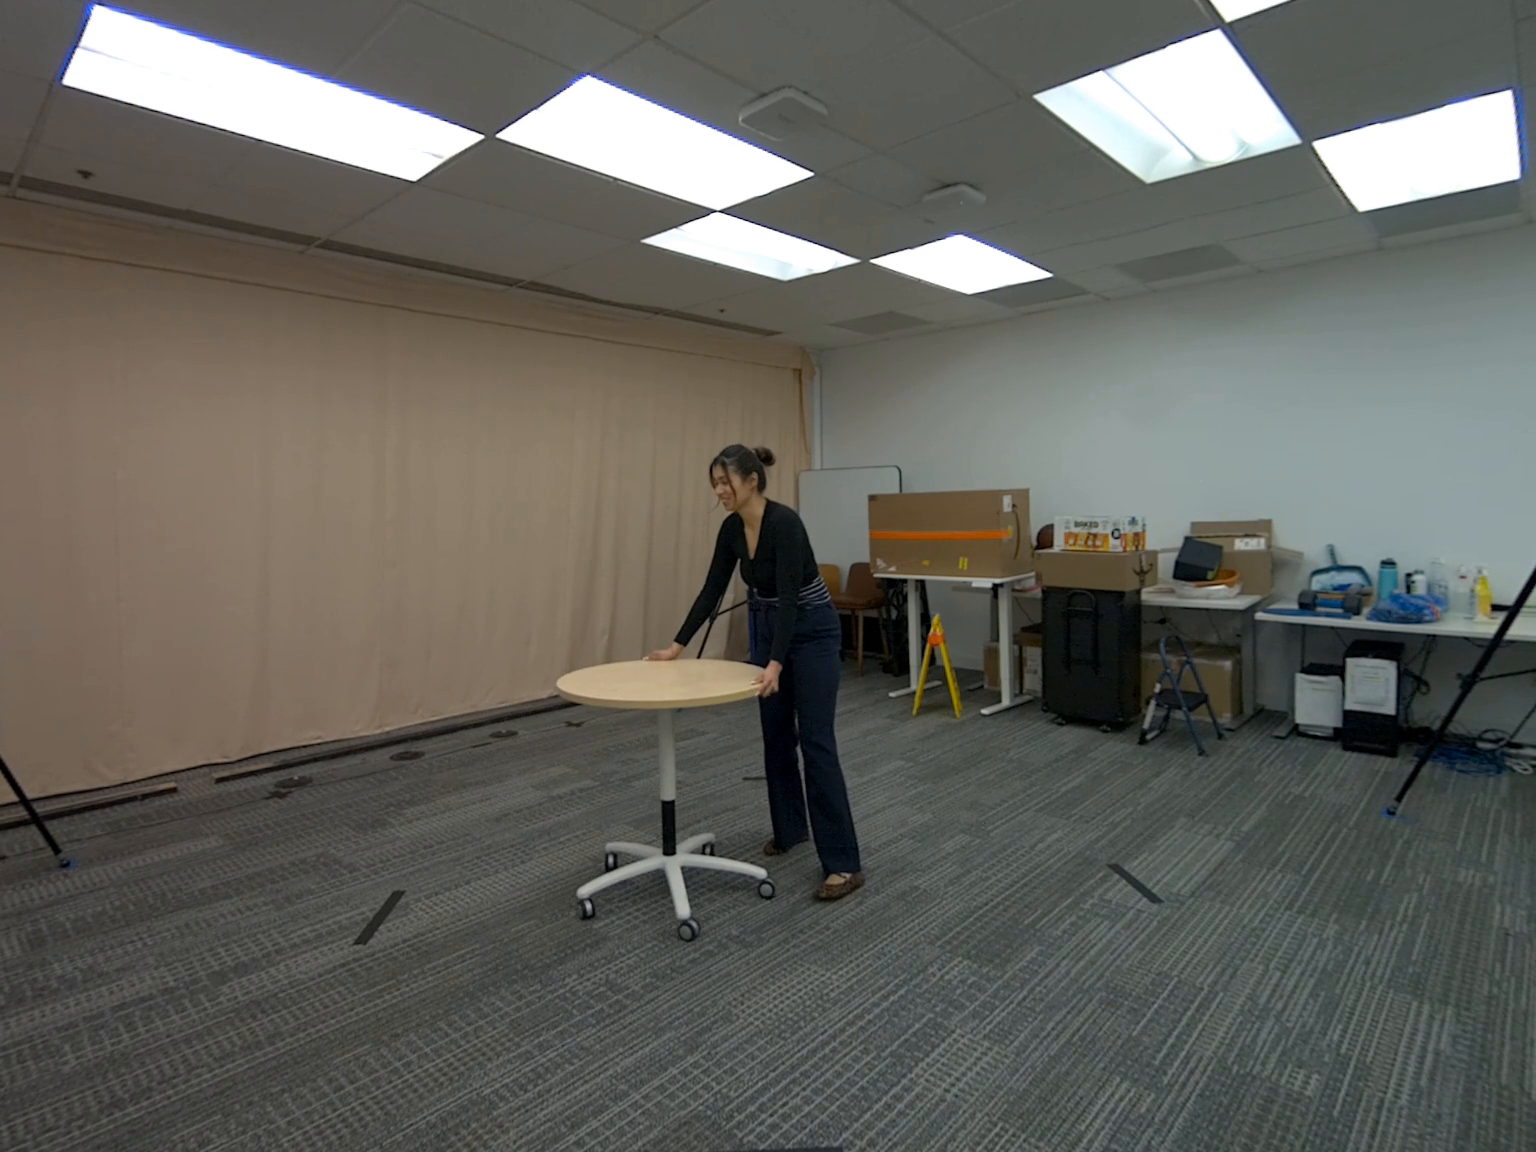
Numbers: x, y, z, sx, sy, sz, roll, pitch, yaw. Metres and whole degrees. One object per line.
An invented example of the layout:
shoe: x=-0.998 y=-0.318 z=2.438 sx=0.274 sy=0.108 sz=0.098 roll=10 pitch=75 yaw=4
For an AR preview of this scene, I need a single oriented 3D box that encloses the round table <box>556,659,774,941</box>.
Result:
round table: x=-0.349 y=0.755 z=3.021 sx=0.763 sy=0.792 sz=0.766 roll=-1 pitch=3 yaw=-2
